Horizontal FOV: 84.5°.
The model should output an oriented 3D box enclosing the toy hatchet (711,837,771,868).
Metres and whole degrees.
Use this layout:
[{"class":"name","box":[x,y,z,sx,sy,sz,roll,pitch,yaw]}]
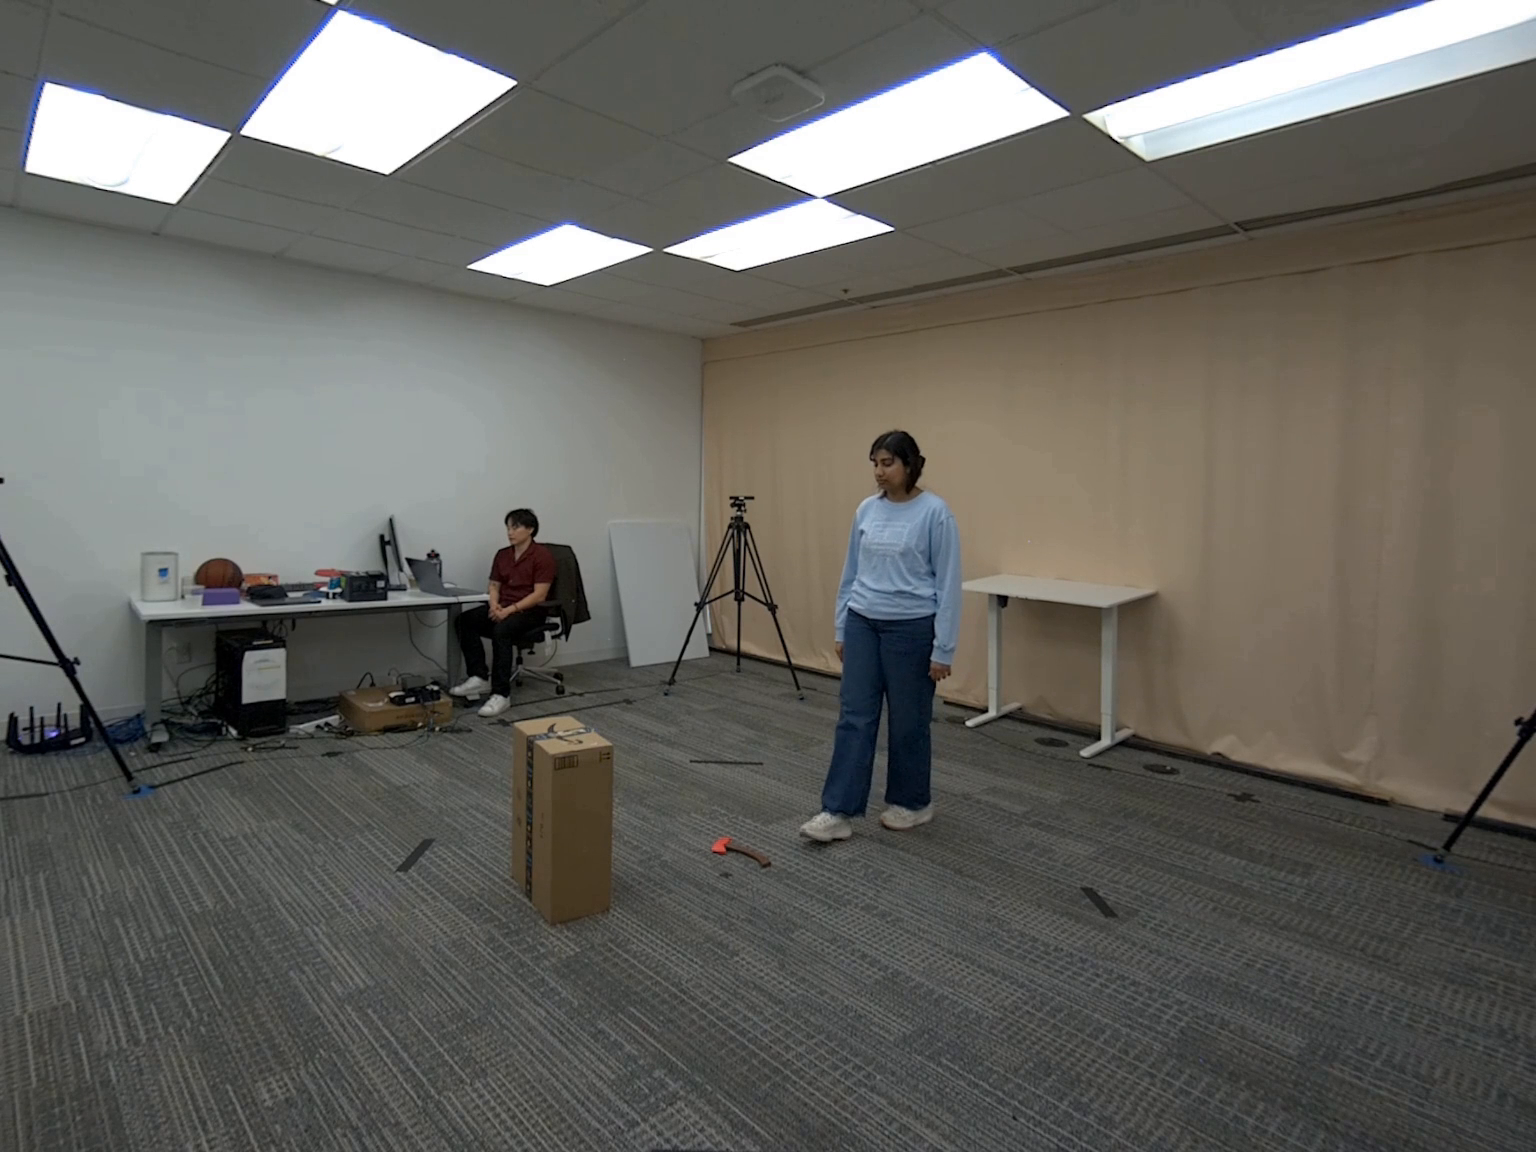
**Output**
[{"class":"toy hatchet","box":[-0.125,1.075,3.260,0.128,0.029,0.277,-3,8,-37]}]
